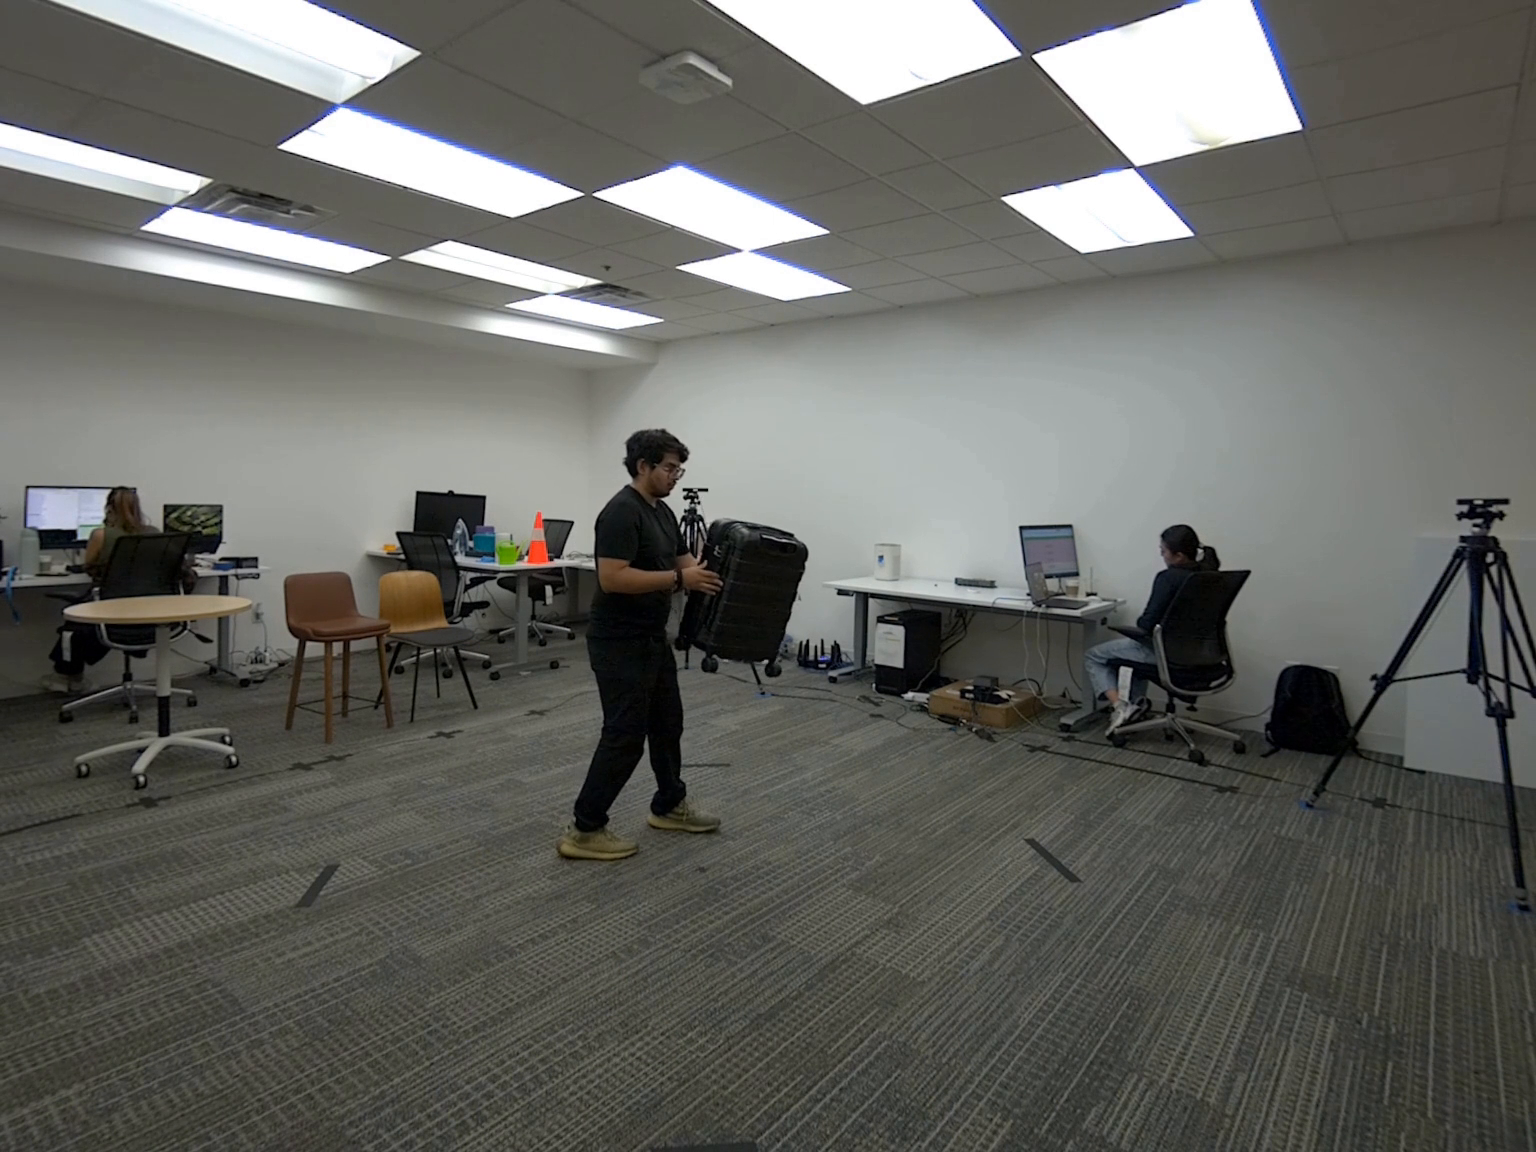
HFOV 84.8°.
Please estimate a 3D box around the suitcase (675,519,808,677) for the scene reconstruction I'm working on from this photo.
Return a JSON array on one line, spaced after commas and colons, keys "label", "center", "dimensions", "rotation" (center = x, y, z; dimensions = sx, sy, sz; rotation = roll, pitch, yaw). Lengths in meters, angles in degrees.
[{"label": "suitcase", "center": [-0.104, 0.065, 3.227], "dimensions": [0.363, 0.546, 0.258], "rotation": [10, 11, -34]}]
